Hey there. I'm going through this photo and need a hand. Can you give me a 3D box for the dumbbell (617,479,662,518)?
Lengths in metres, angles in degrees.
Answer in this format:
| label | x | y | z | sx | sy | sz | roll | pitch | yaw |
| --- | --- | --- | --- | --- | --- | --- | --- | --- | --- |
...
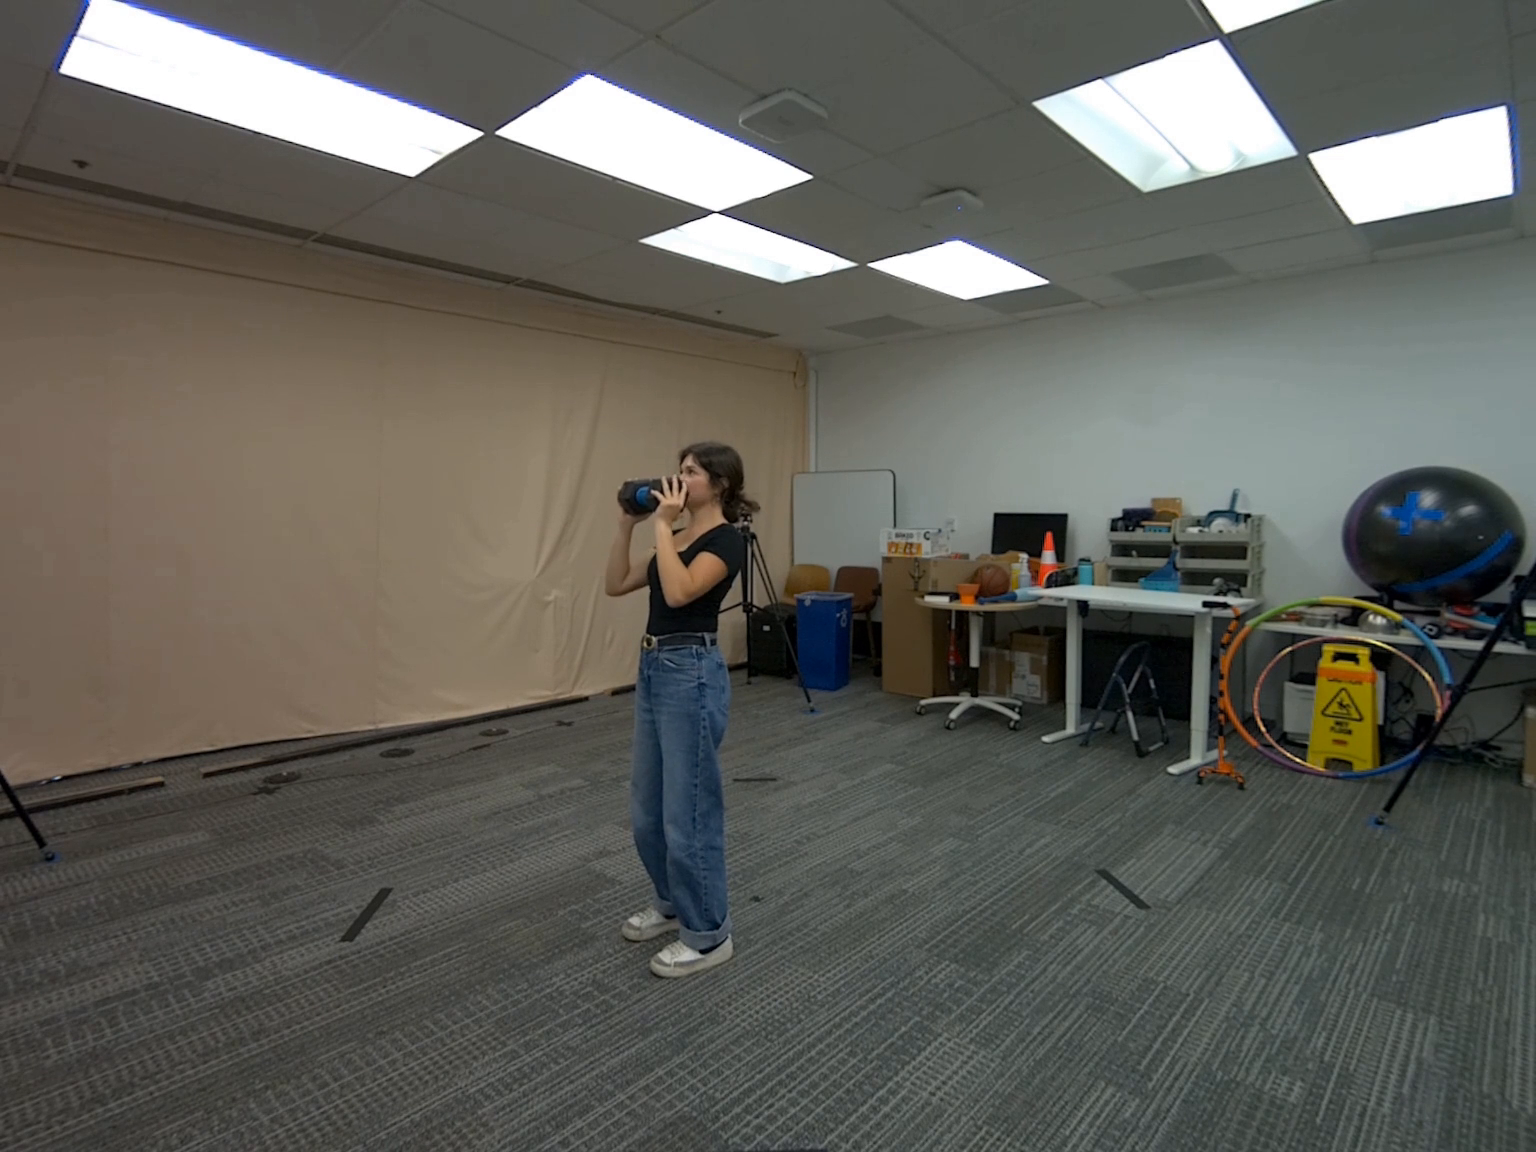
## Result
| label | x | y | z | sx | sy | sz | roll | pitch | yaw |
| --- | --- | --- | --- | --- | --- | --- | --- | --- | --- |
| dumbbell | -0.349 | -0.252 | 2.601 | 0.108 | 0.120 | 0.302 | -42 | 24 | -21 |
